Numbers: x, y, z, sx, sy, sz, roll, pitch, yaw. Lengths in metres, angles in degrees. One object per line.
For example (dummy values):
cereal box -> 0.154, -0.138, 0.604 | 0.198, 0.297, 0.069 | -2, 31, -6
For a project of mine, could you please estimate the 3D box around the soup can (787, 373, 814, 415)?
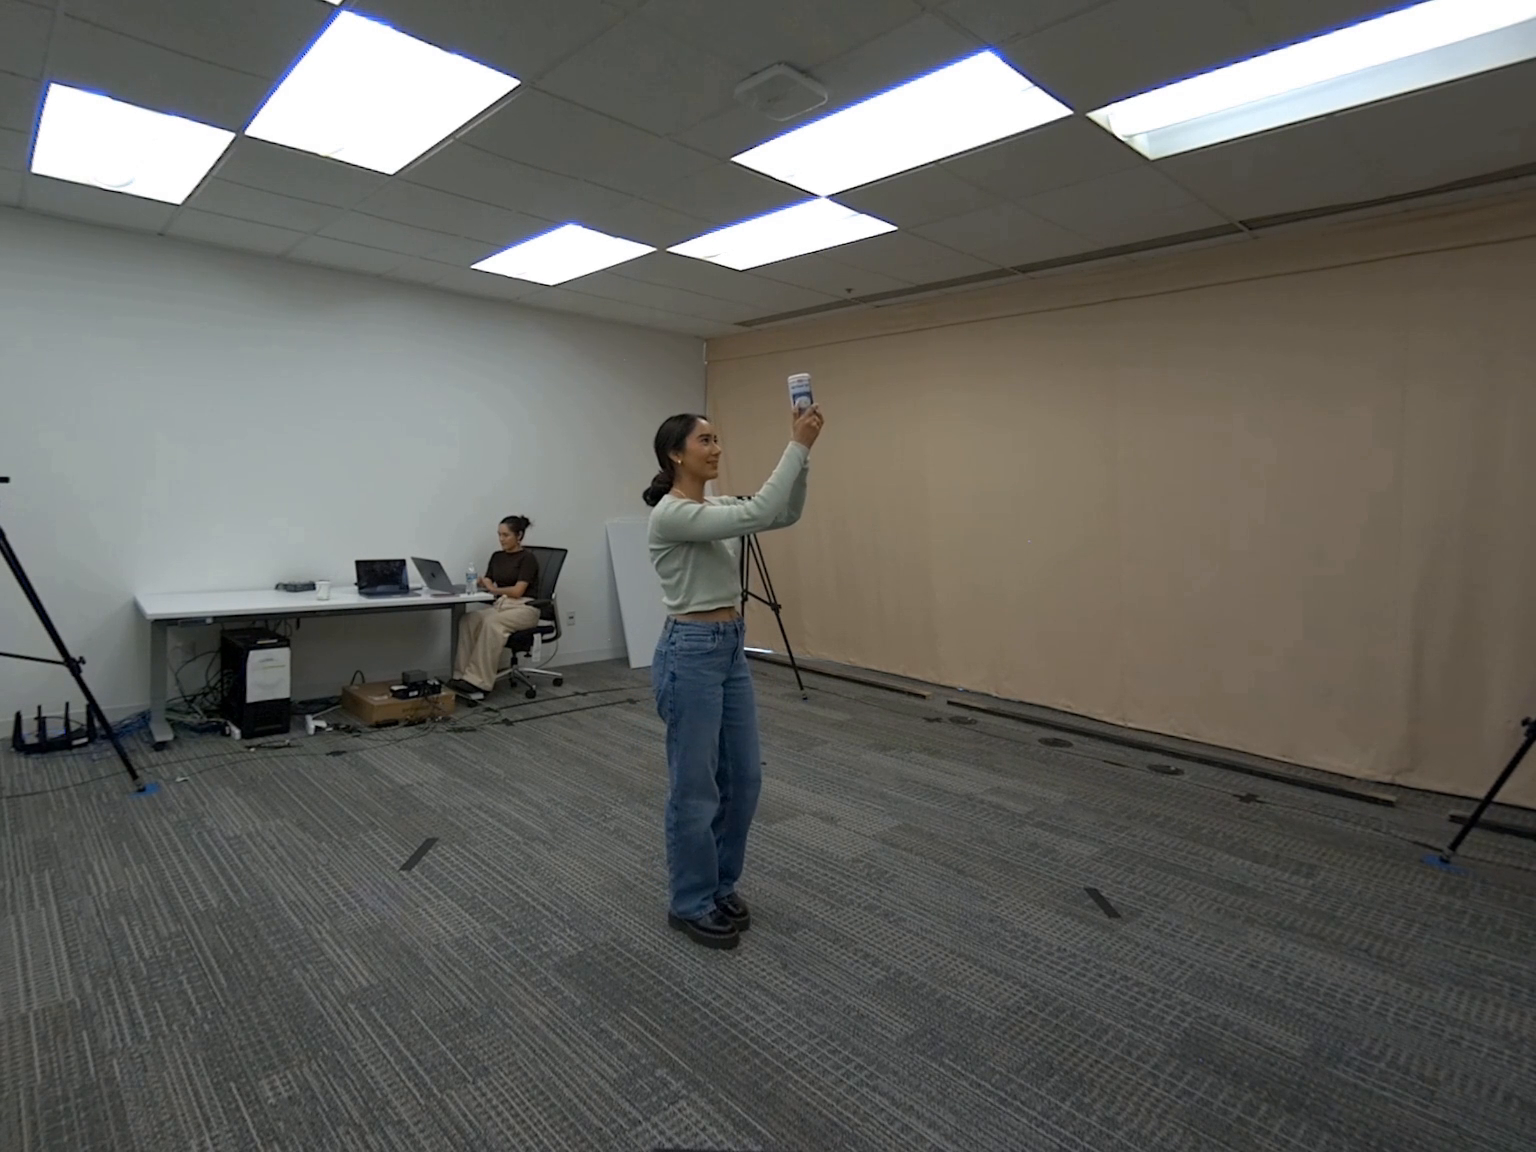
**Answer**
soup can -> 0.098, -0.528, 2.487 | 0.067, 0.121, 0.067 | -7, 1, -1
